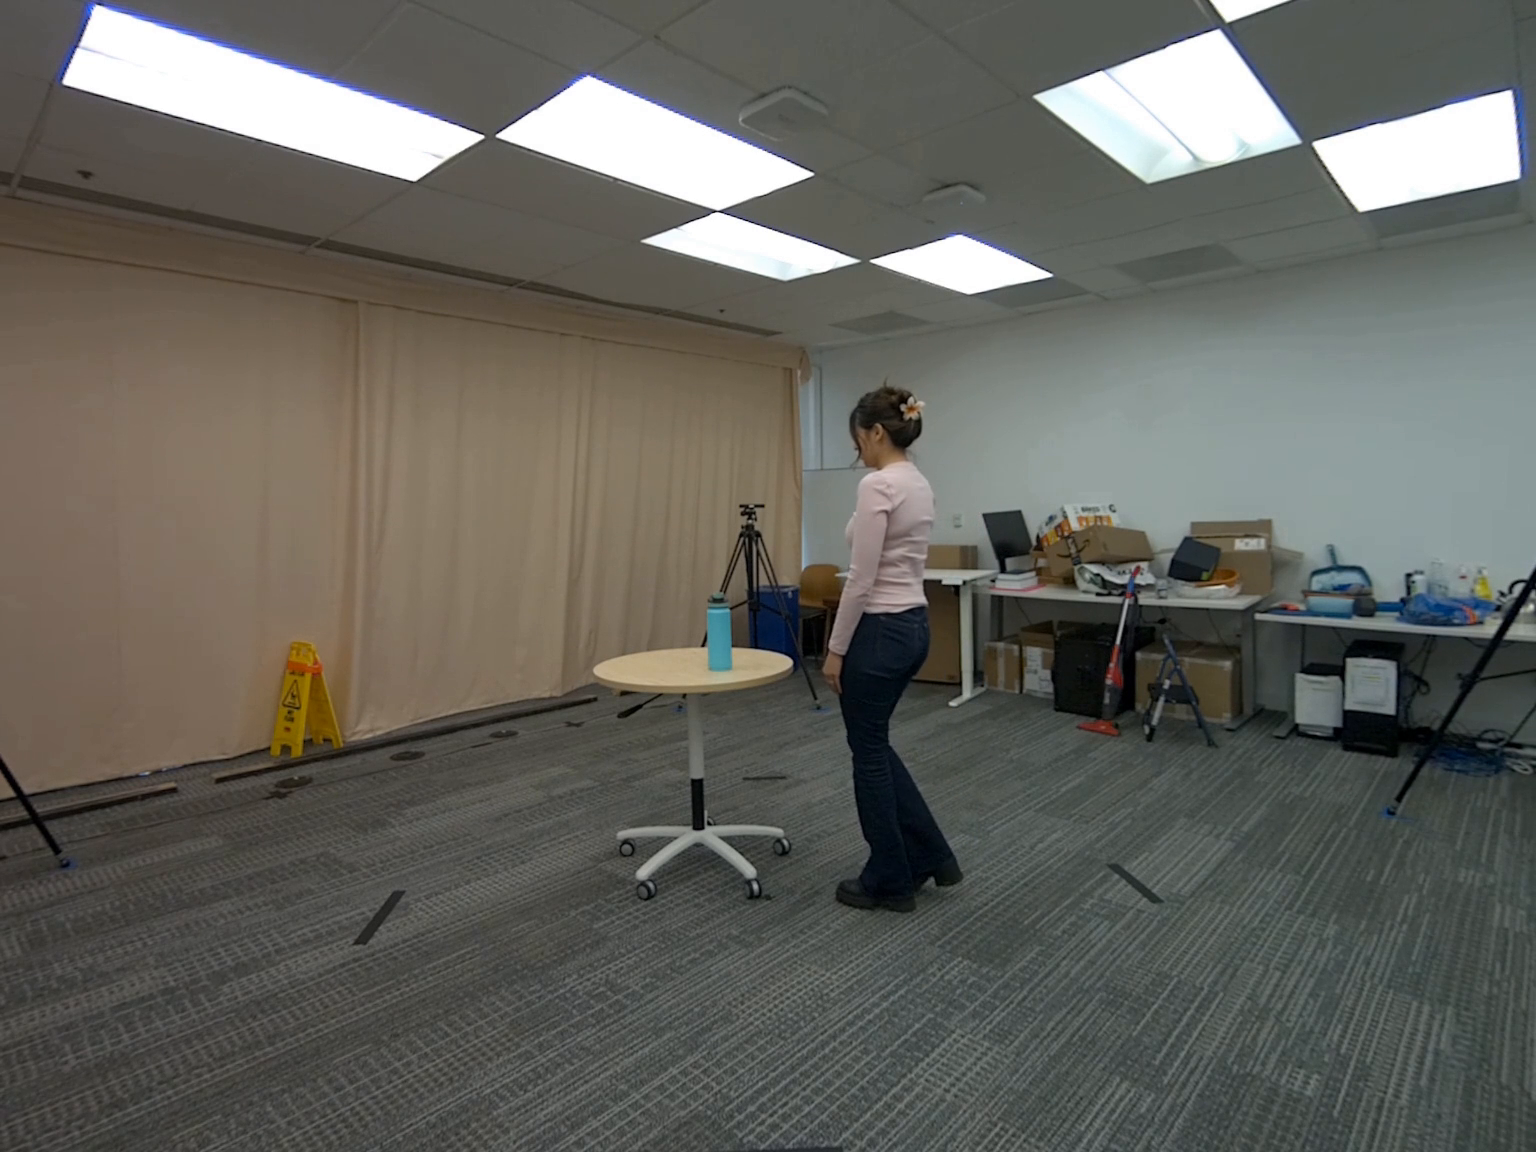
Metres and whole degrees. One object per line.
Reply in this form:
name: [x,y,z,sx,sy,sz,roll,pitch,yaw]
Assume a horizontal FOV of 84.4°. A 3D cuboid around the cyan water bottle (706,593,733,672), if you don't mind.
cyan water bottle: [-0.179,0.206,3.130,0.092,0.283,0.092,-3,2,-2]
